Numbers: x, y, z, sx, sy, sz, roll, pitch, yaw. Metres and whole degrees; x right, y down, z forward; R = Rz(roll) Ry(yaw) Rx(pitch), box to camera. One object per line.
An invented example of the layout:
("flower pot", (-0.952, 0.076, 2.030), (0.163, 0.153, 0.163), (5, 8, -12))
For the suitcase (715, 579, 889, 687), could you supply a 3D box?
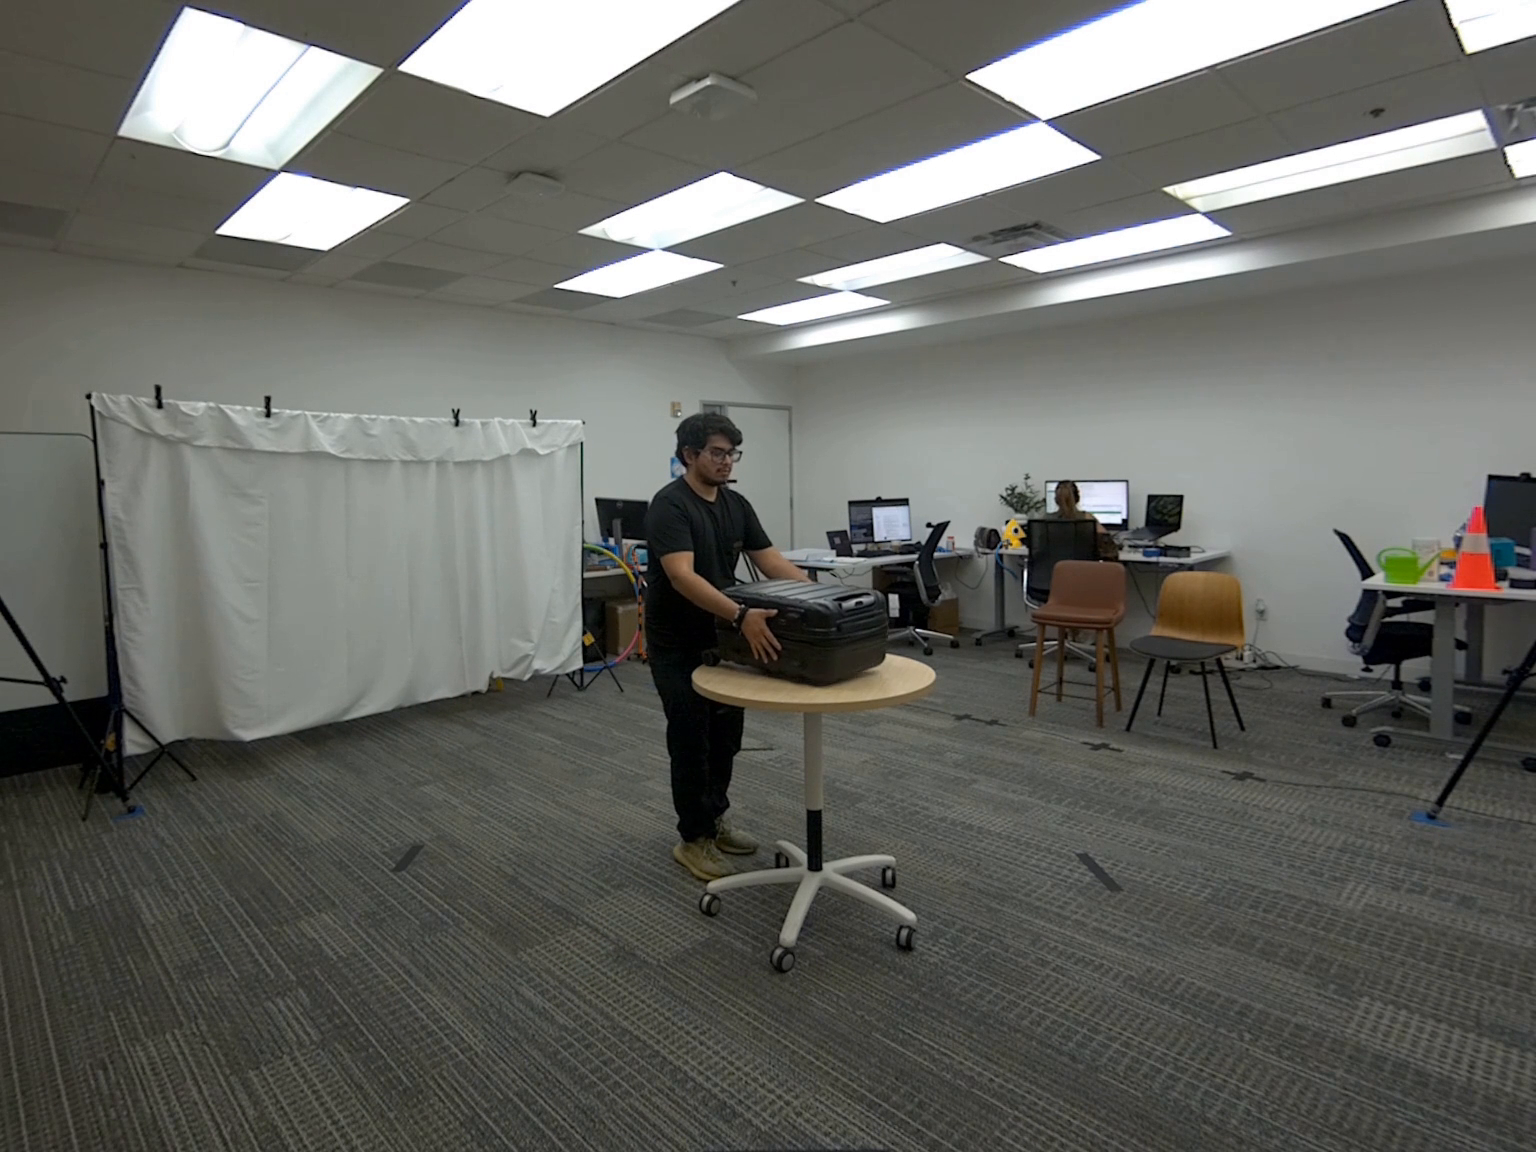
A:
("suitcase", (0.094, 0.164, 2.759), (0.566, 0.247, 0.365), (4, 7, 43))
